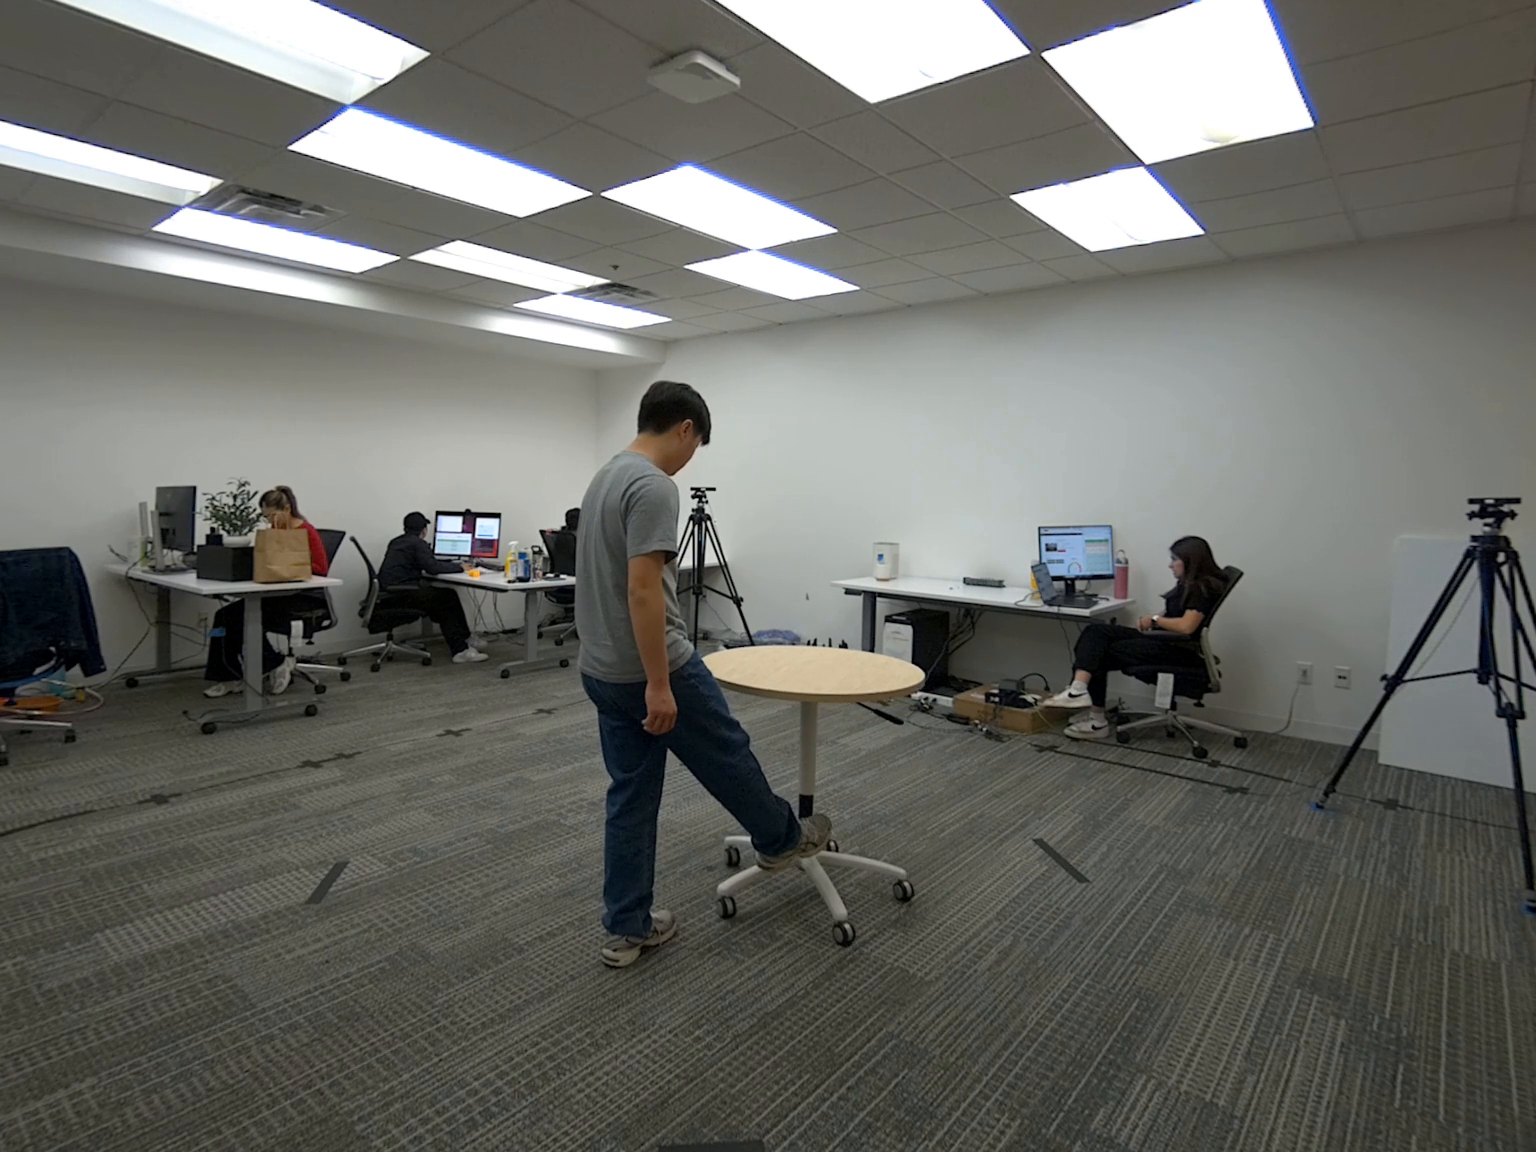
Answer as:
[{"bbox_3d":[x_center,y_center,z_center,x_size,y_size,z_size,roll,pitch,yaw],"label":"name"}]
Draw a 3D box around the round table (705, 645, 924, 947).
[{"bbox_3d":[0.125,0.701,2.927,0.763,0.791,0.768,2,4,-2],"label":"round table"}]
